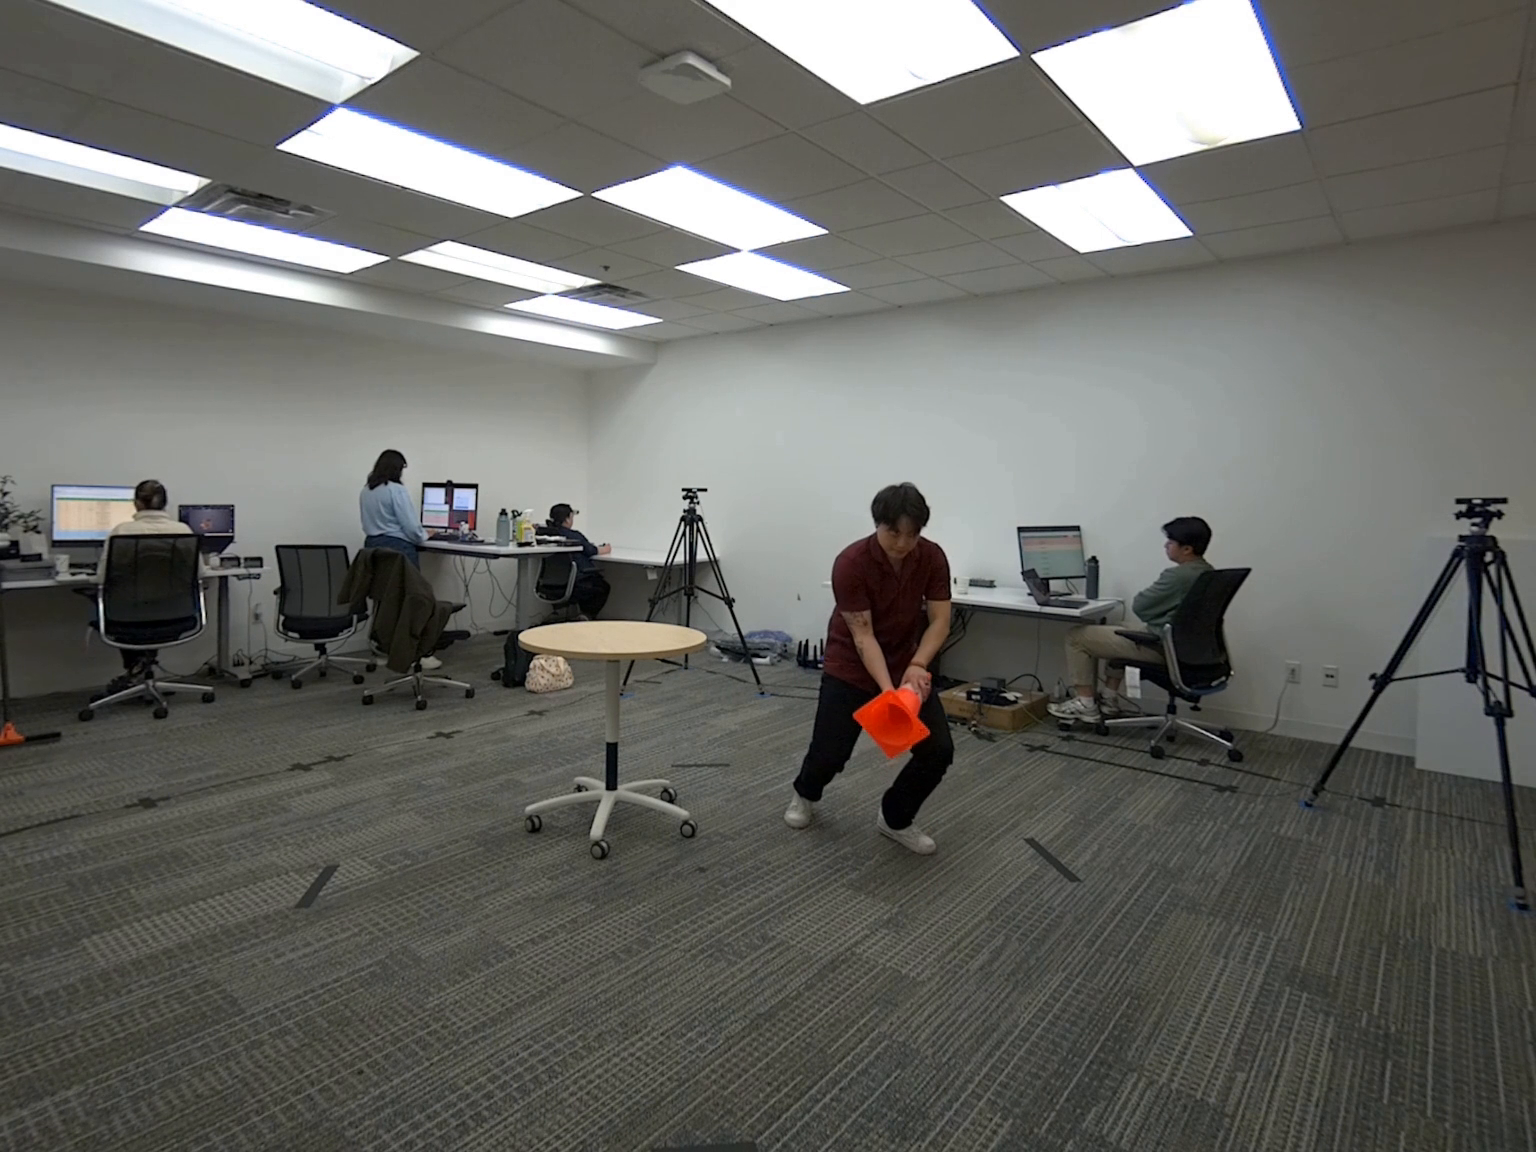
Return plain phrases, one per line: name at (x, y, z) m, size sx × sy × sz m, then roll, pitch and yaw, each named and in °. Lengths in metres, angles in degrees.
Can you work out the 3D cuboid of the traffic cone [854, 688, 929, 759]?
traffic cone at (0.493, 0.443, 3.040) m, size 0.205 × 0.205 × 0.379 m, roll -42°, pitch -6°, yaw 33°
